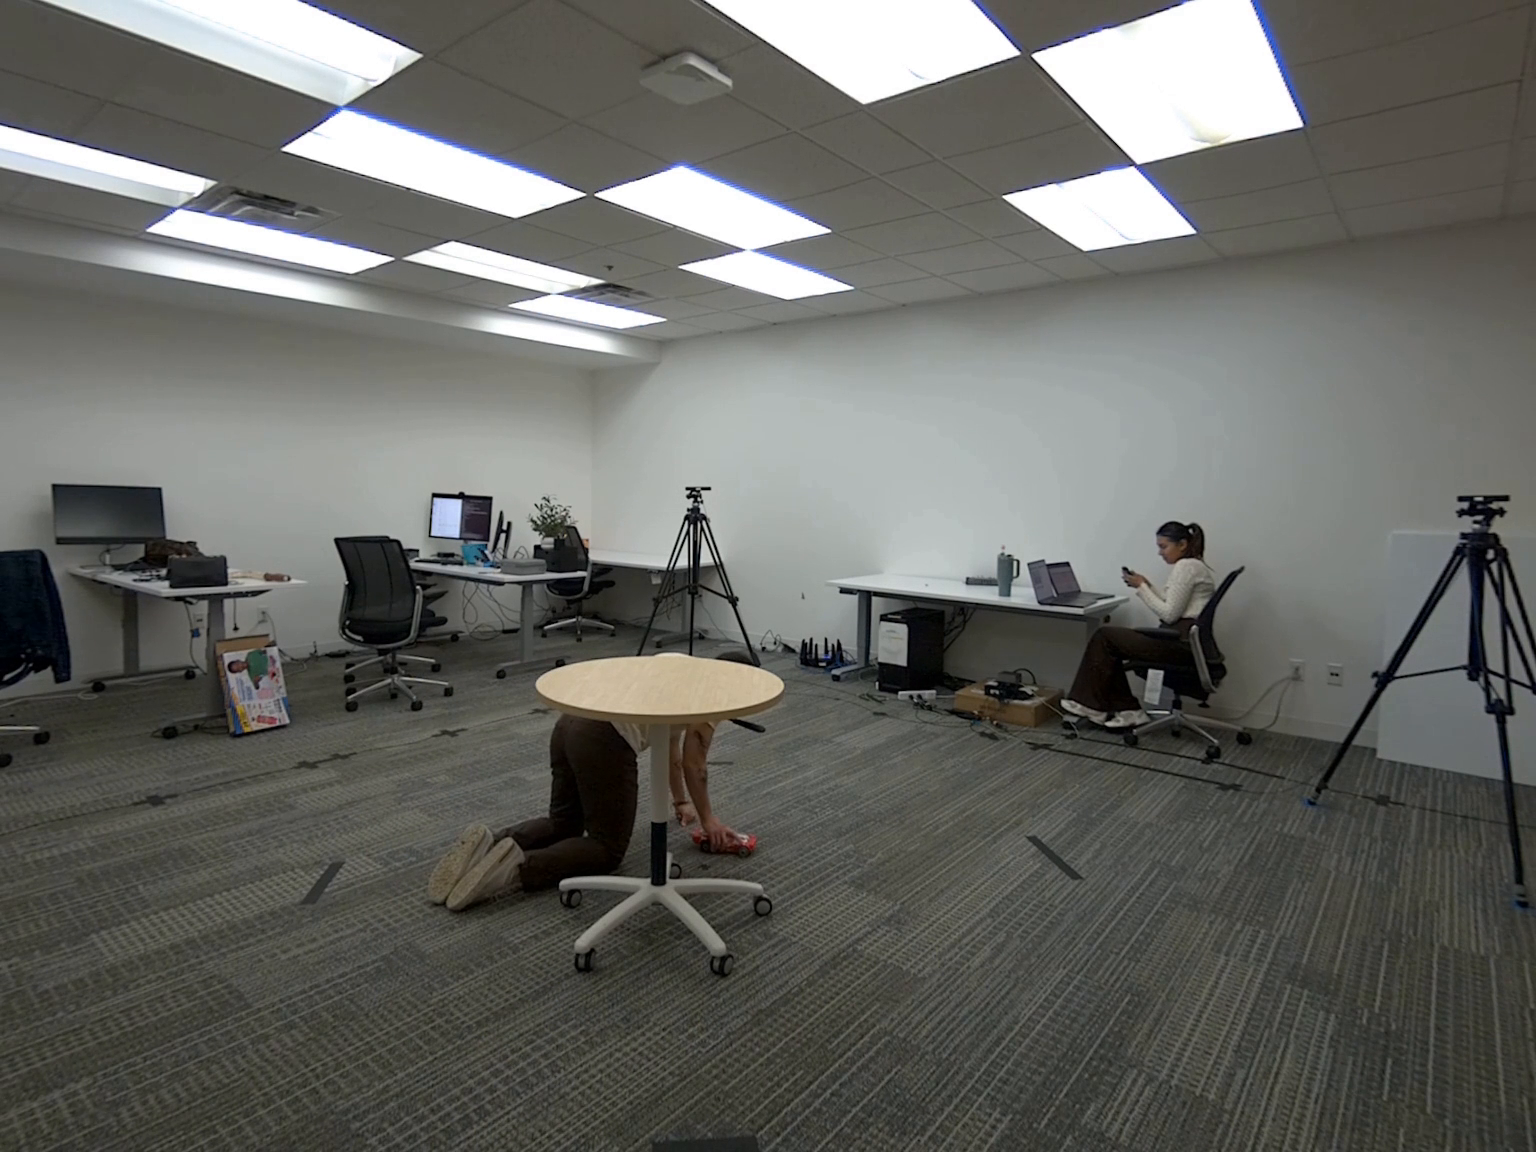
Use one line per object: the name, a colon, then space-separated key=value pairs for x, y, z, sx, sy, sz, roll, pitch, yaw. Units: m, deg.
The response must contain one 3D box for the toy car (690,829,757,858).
toy car: x=-0.187 y=1.025 z=3.275 sx=0.259 sy=0.083 sz=0.129 roll=13 pitch=9 yaw=12
